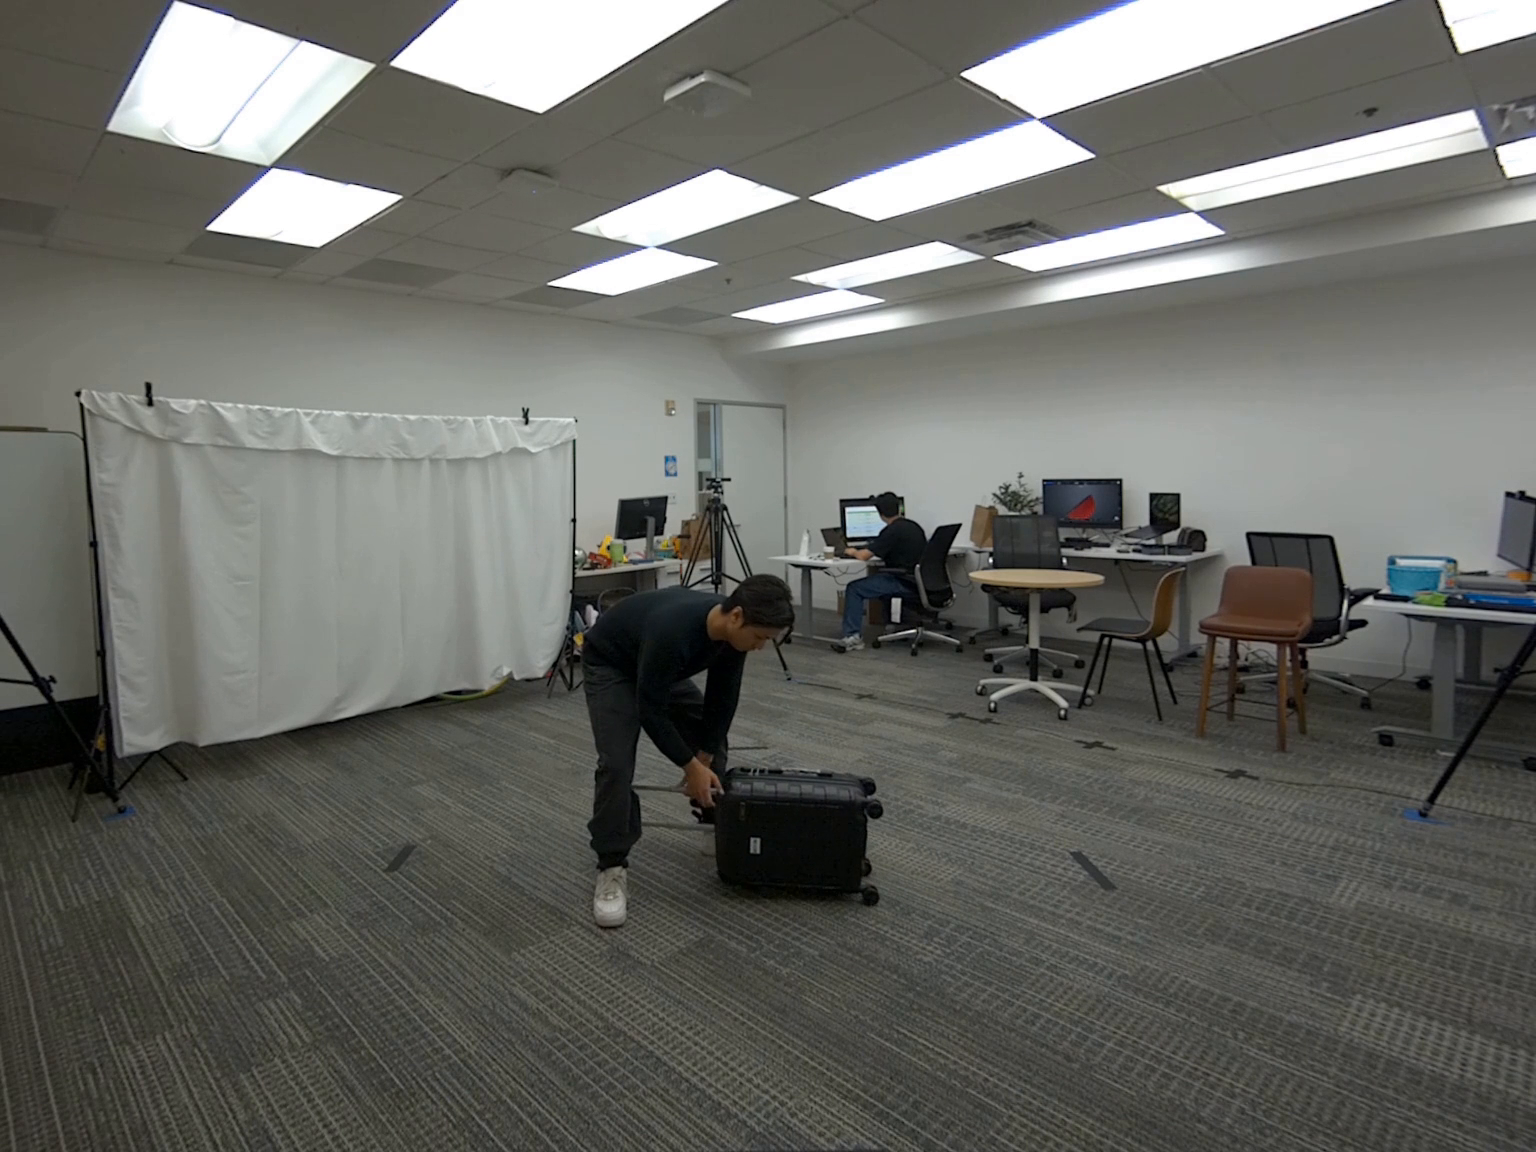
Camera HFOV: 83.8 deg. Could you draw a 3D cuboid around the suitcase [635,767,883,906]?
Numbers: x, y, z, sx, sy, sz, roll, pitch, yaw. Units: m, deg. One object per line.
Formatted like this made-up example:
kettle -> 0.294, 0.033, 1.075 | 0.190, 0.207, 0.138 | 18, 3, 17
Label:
suitcase -> -0.117, 0.841, 2.912 | 0.981, 0.382, 0.258 | 3, 6, 2
